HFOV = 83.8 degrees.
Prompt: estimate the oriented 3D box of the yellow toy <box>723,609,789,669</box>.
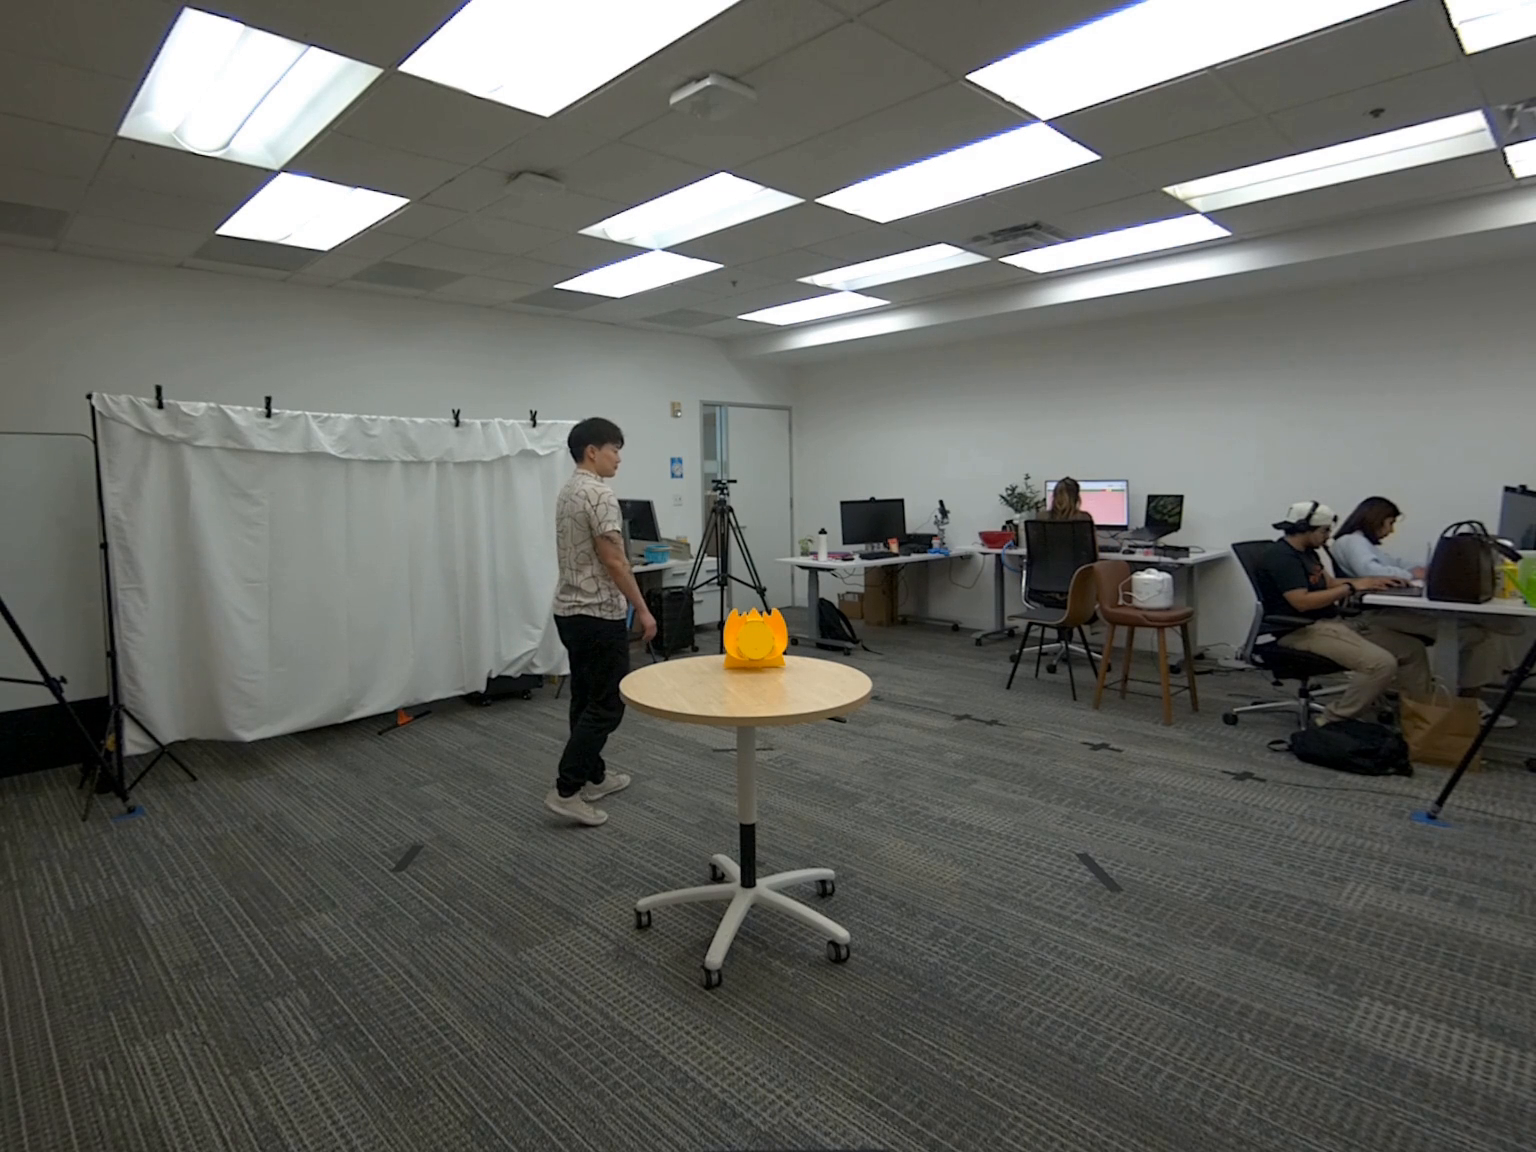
[{"bbox_3d":[-0.050,0.206,2.824,0.204,0.194,0.230,-2,-7,-5],"label":"yellow toy"}]
